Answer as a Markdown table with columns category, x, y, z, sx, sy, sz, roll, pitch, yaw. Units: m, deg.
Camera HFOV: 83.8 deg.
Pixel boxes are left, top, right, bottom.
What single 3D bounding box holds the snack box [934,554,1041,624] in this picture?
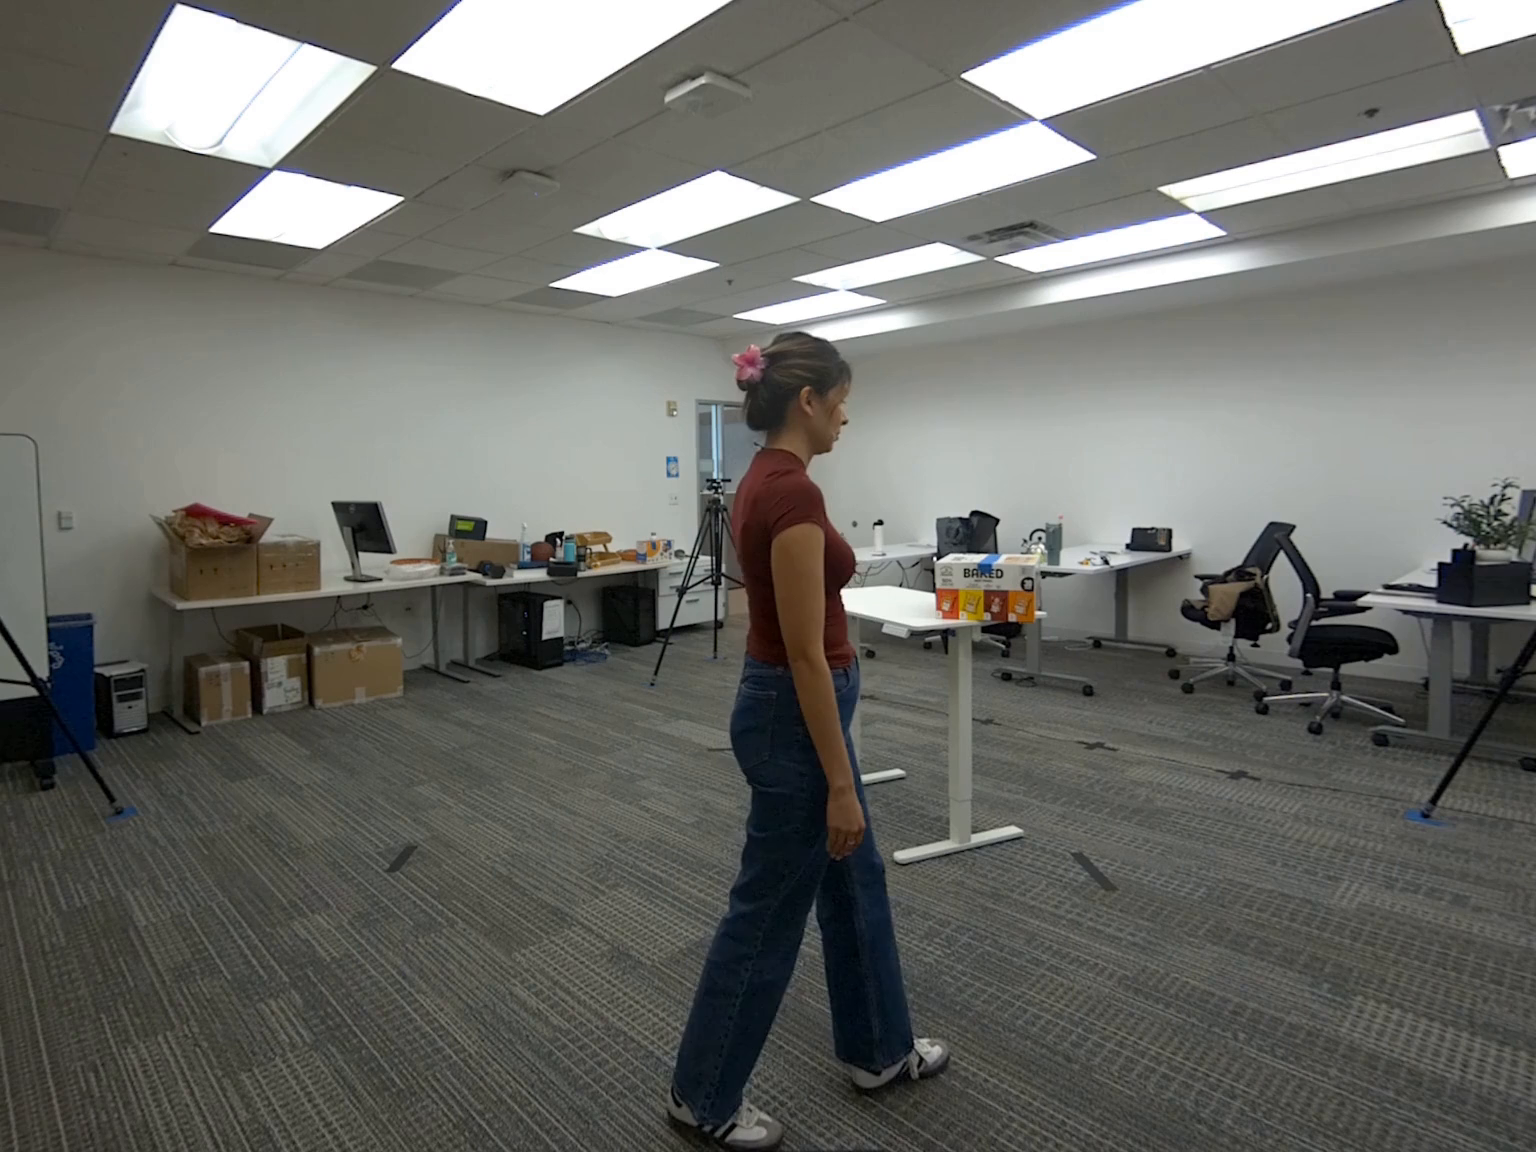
| category | x | y | z | sx | sy | sz | roll | pitch | yaw |
| --- | --- | --- | --- | --- | --- | --- | --- | --- | --- |
| snack box | 0.831 | 0.037 | 3.188 | 0.347 | 0.205 | 0.399 | 1 | 6 | 21 |
